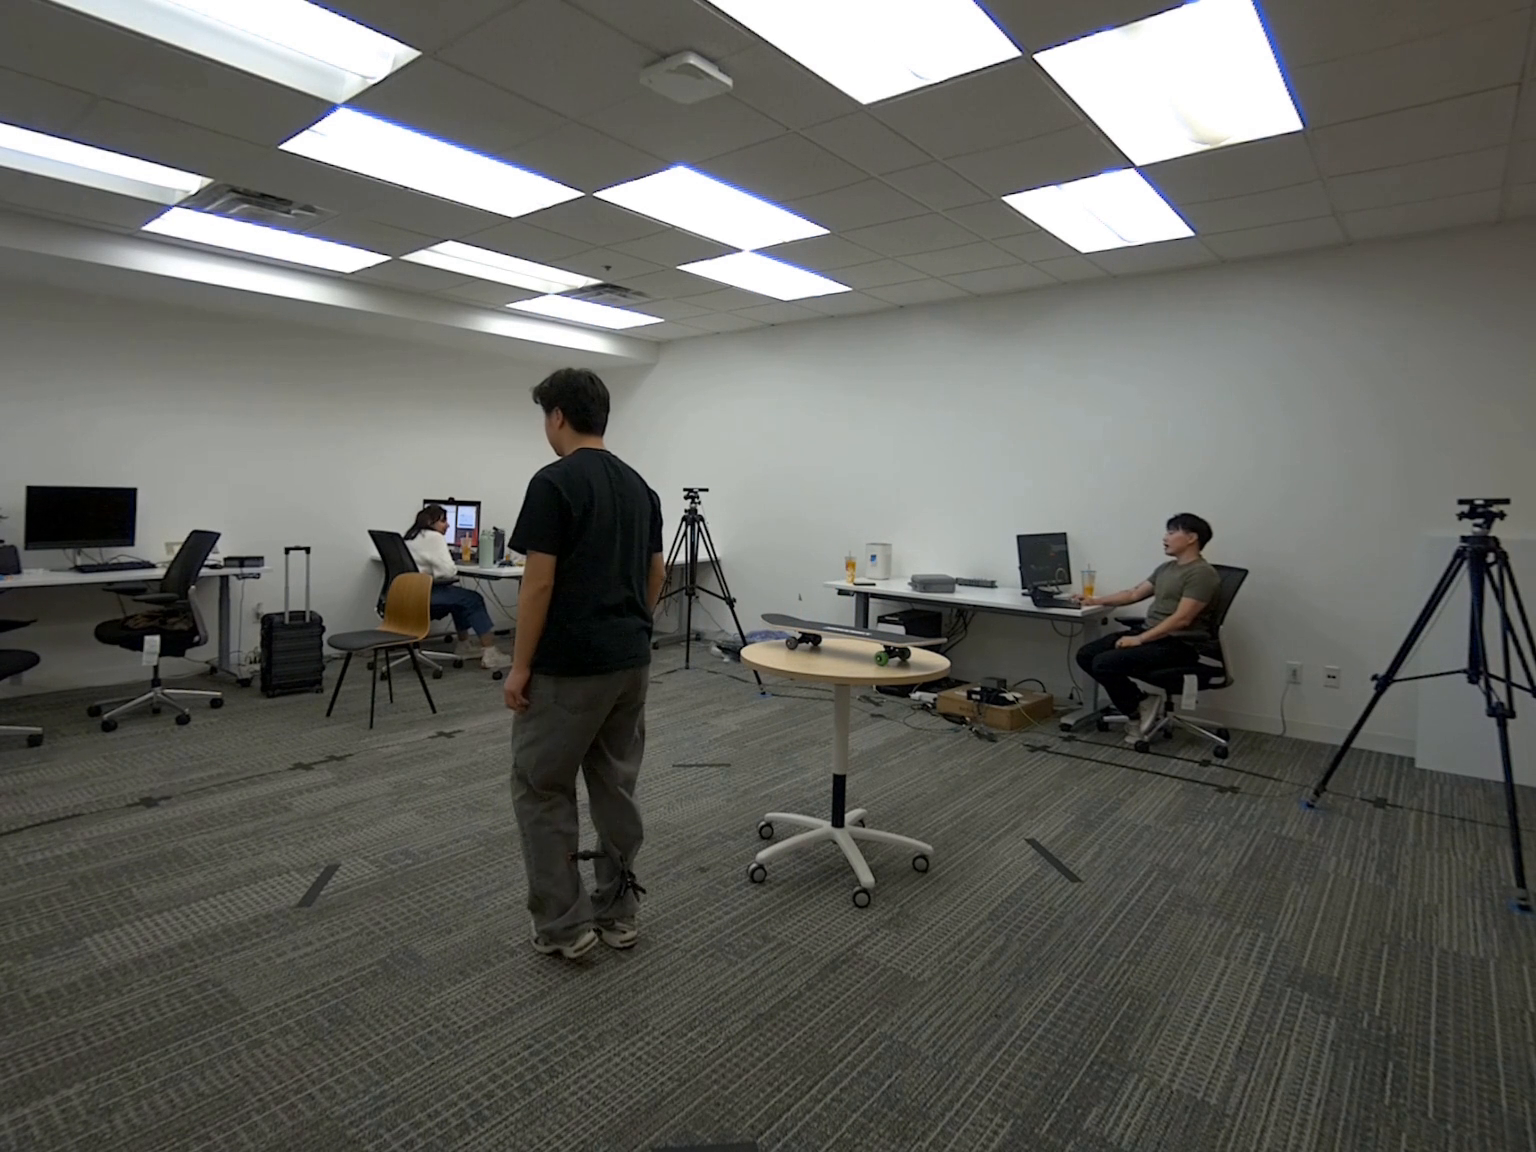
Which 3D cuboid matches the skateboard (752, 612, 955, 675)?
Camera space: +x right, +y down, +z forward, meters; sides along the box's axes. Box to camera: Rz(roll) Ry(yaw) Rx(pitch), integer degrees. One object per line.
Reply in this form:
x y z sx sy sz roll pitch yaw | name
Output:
0.295 0.240 3.172 0.813 0.110 0.187 6 5 43 | skateboard
